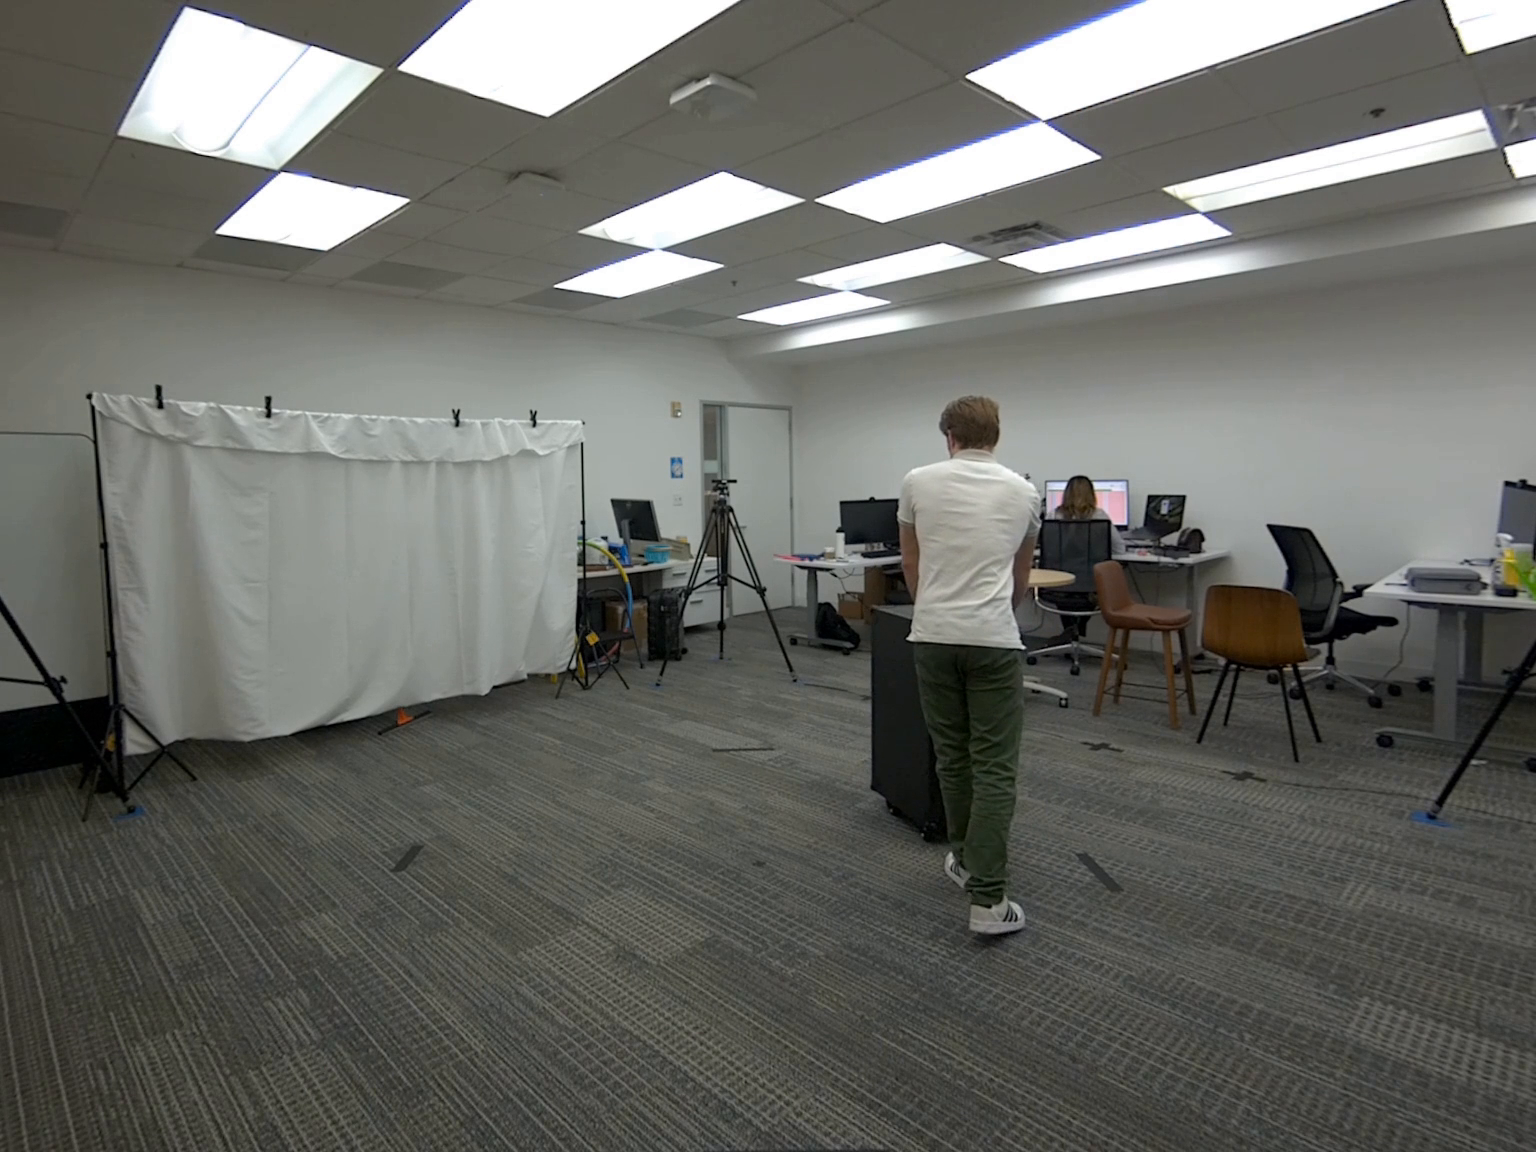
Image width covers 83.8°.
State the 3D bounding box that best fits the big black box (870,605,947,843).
[{"bbox_3d":[0.683,0.574,3.464,0.379,0.866,0.534,-2,4,-19],"label":"big black box"}]
